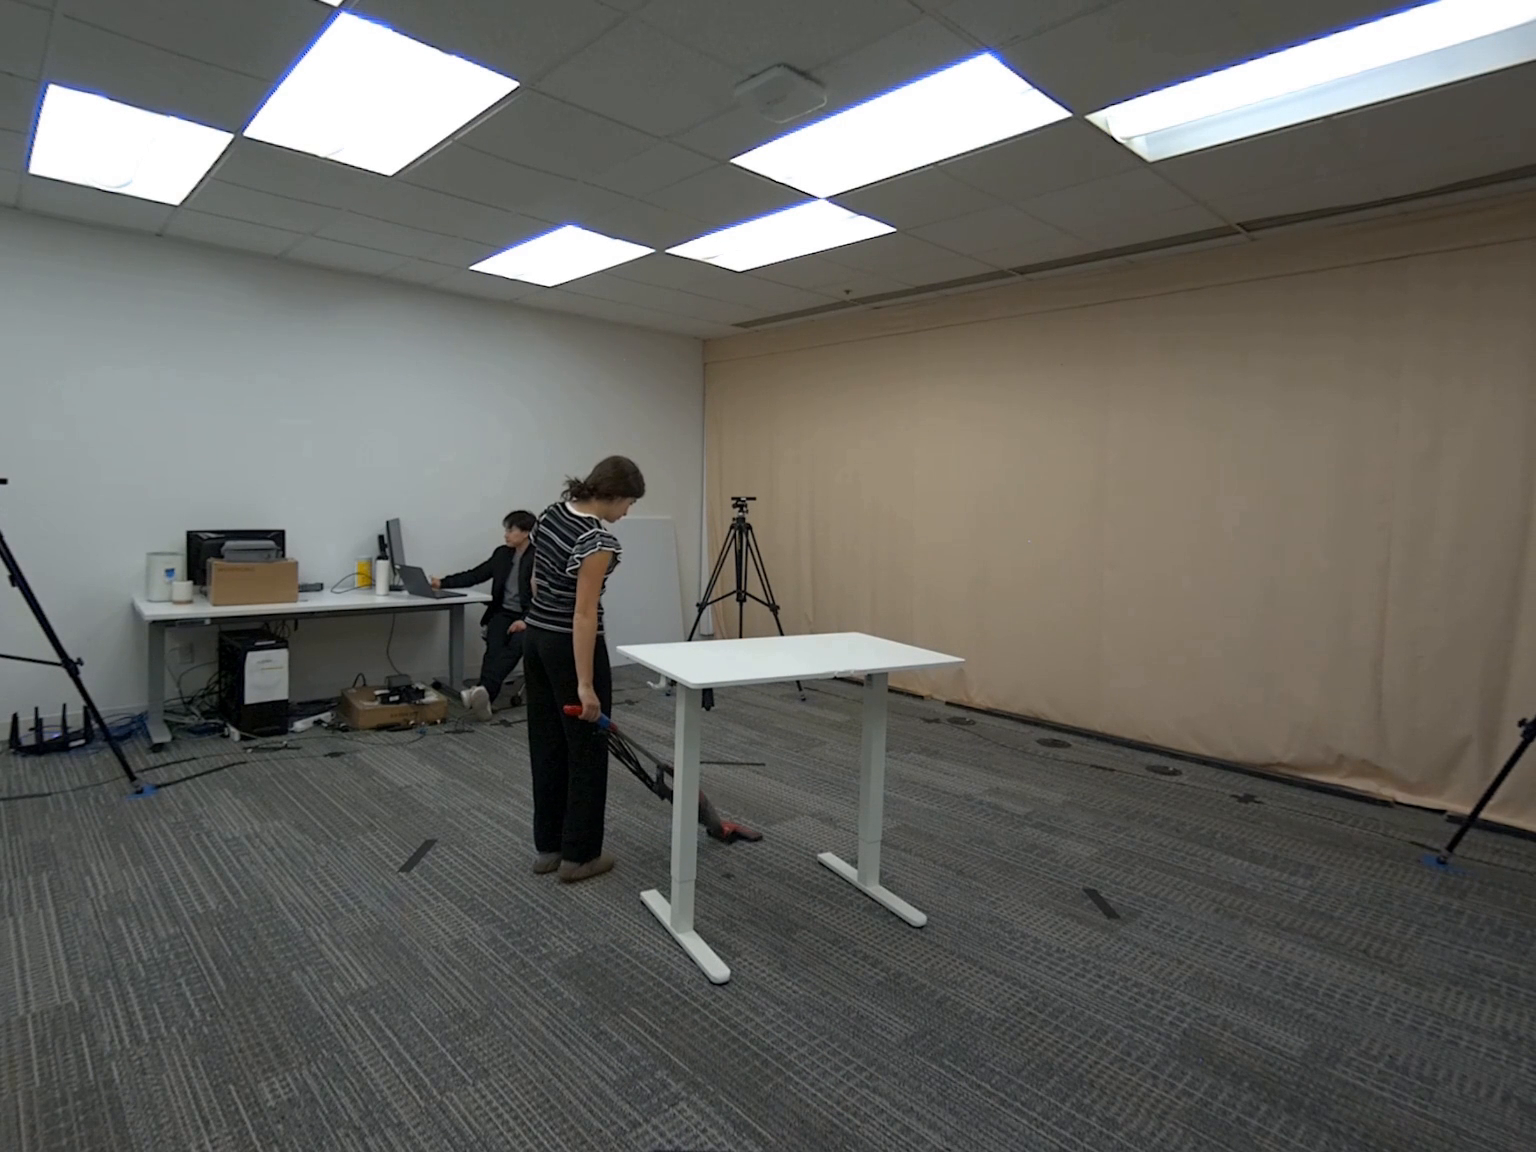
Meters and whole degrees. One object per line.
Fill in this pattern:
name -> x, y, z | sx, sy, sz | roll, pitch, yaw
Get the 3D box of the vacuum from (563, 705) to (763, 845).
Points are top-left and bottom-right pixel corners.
vacuum -> -0.413, 0.766, 3.194 | 0.259, 0.145, 1.017 | 2, -33, 41
